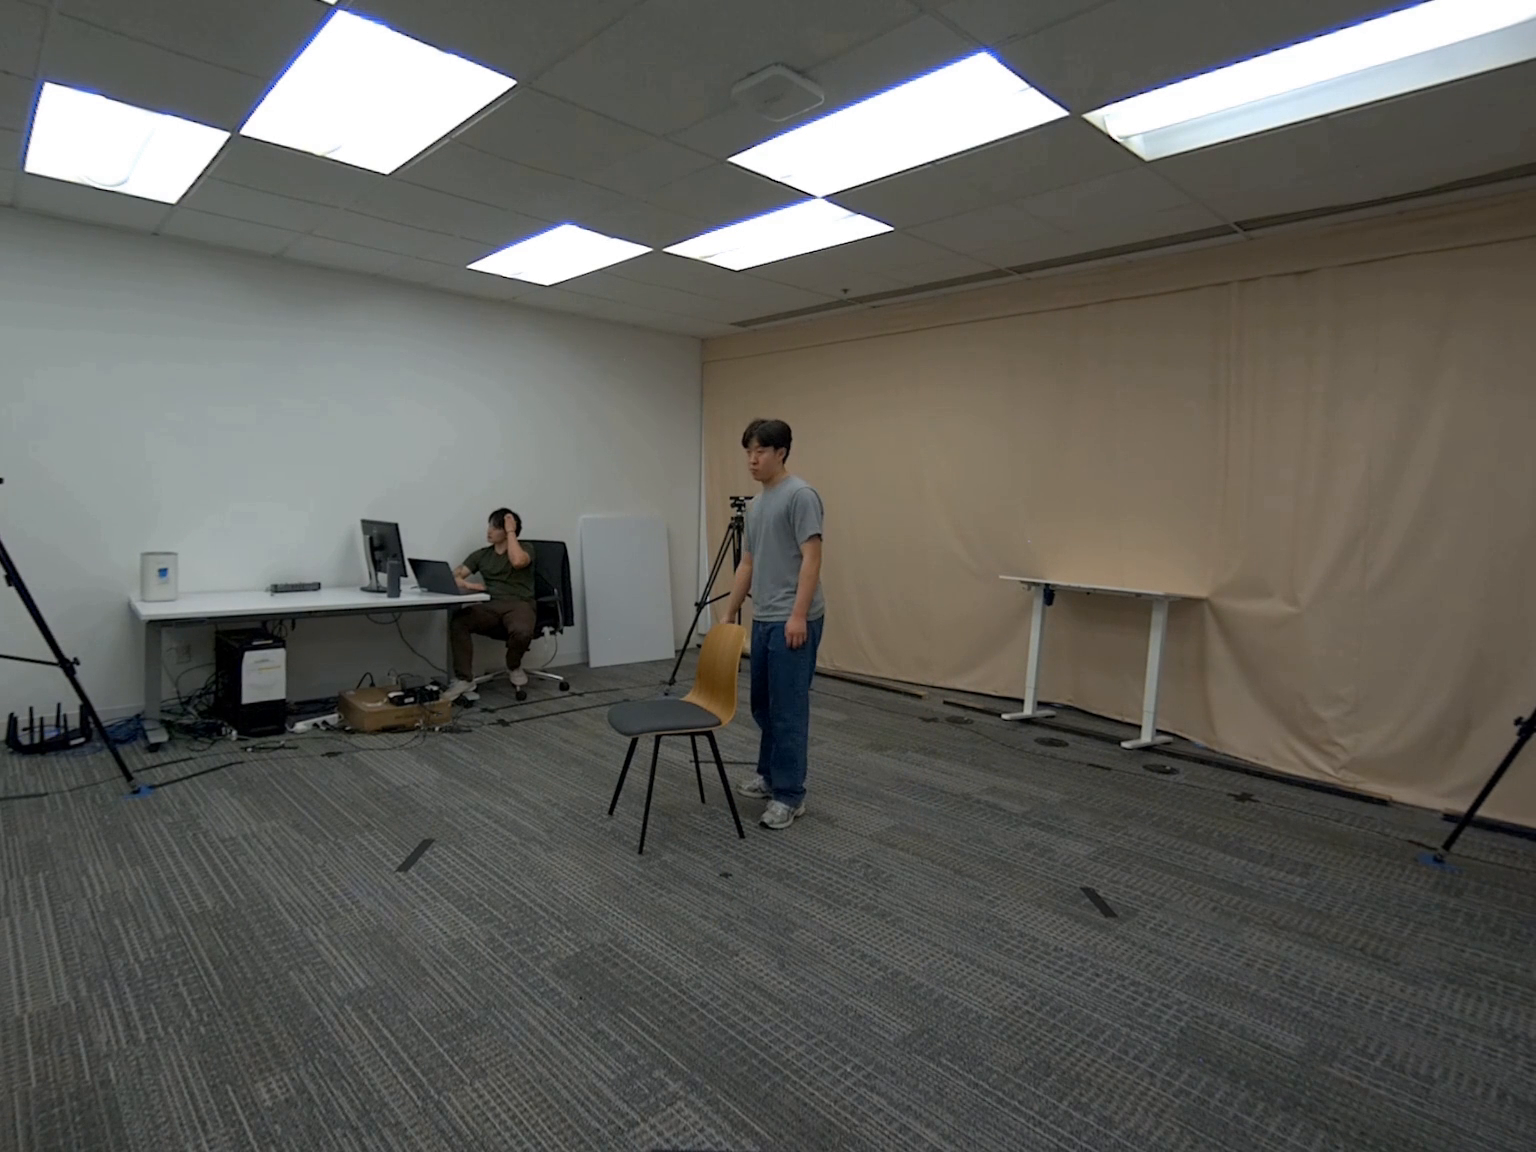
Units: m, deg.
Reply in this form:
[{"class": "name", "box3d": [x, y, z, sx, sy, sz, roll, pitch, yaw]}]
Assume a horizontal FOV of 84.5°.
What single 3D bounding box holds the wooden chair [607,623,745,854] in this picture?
[{"class": "wooden chair", "box3d": [-0.397, 0.633, 3.517, 0.513, 0.876, 0.488, 5, 2, -25]}]
